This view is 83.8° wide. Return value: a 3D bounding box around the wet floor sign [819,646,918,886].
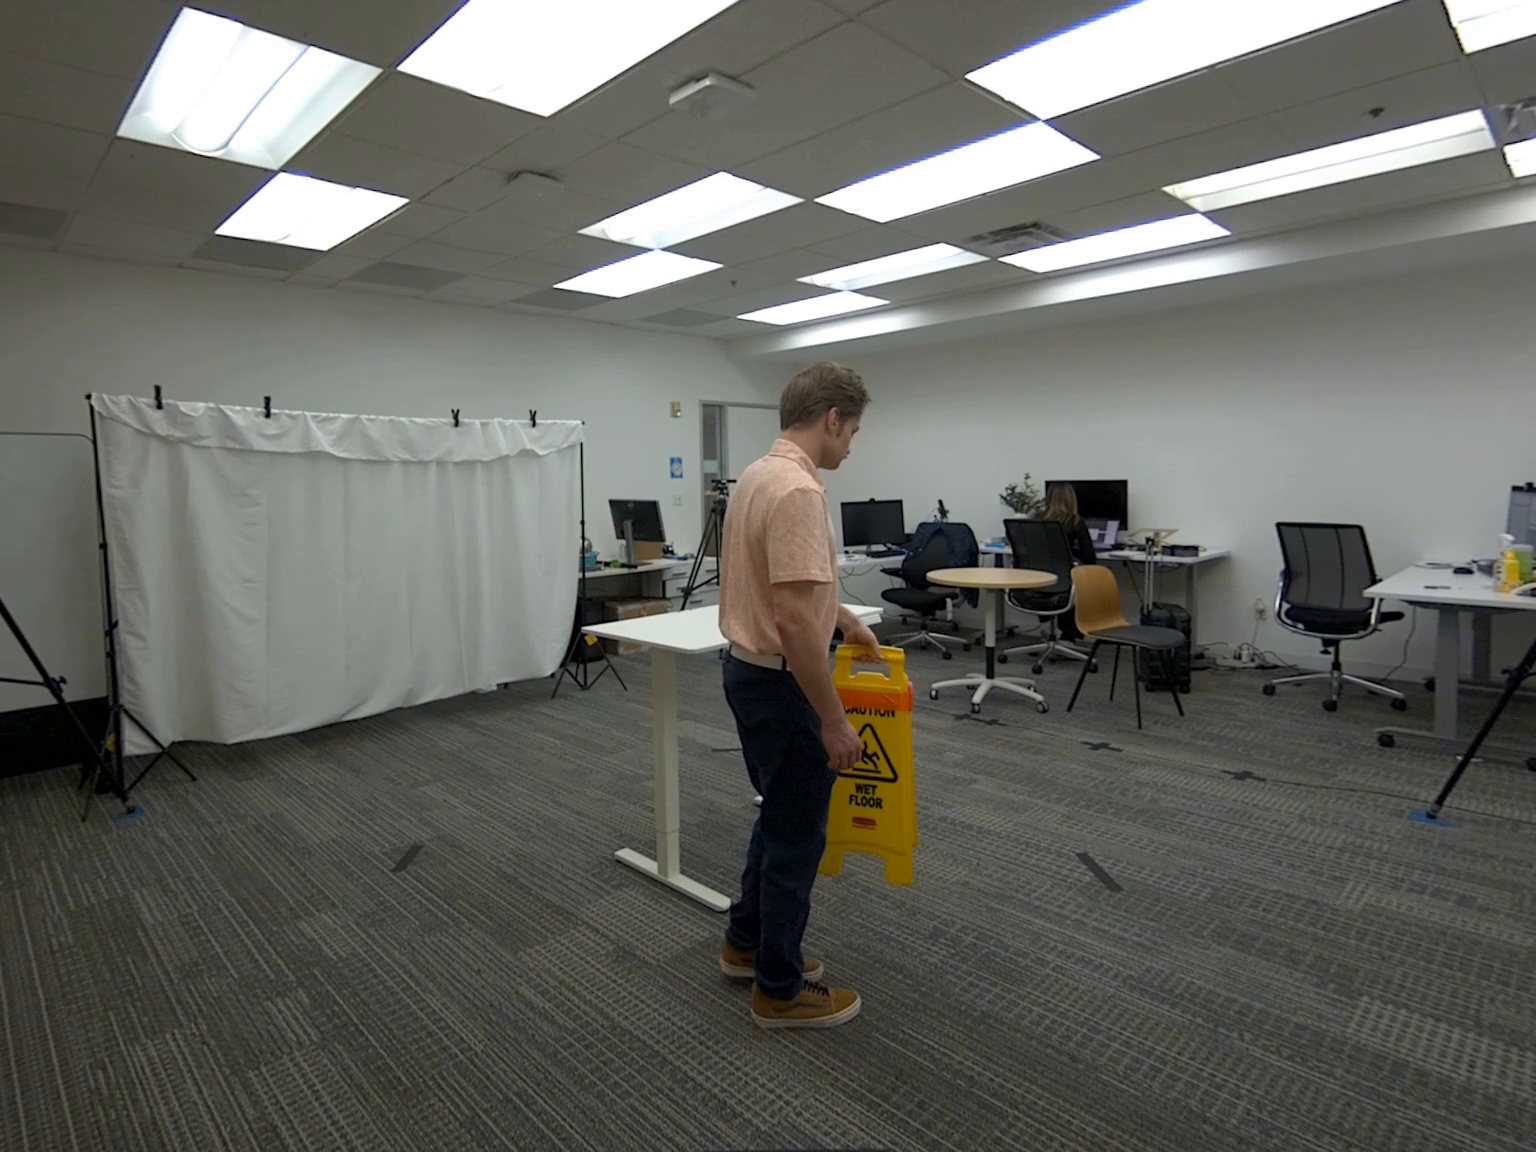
[{"bbox_3d":[0.307,0.537,2.514,0.286,0.642,0.287,0,7,14],"label":"wet floor sign"}]
